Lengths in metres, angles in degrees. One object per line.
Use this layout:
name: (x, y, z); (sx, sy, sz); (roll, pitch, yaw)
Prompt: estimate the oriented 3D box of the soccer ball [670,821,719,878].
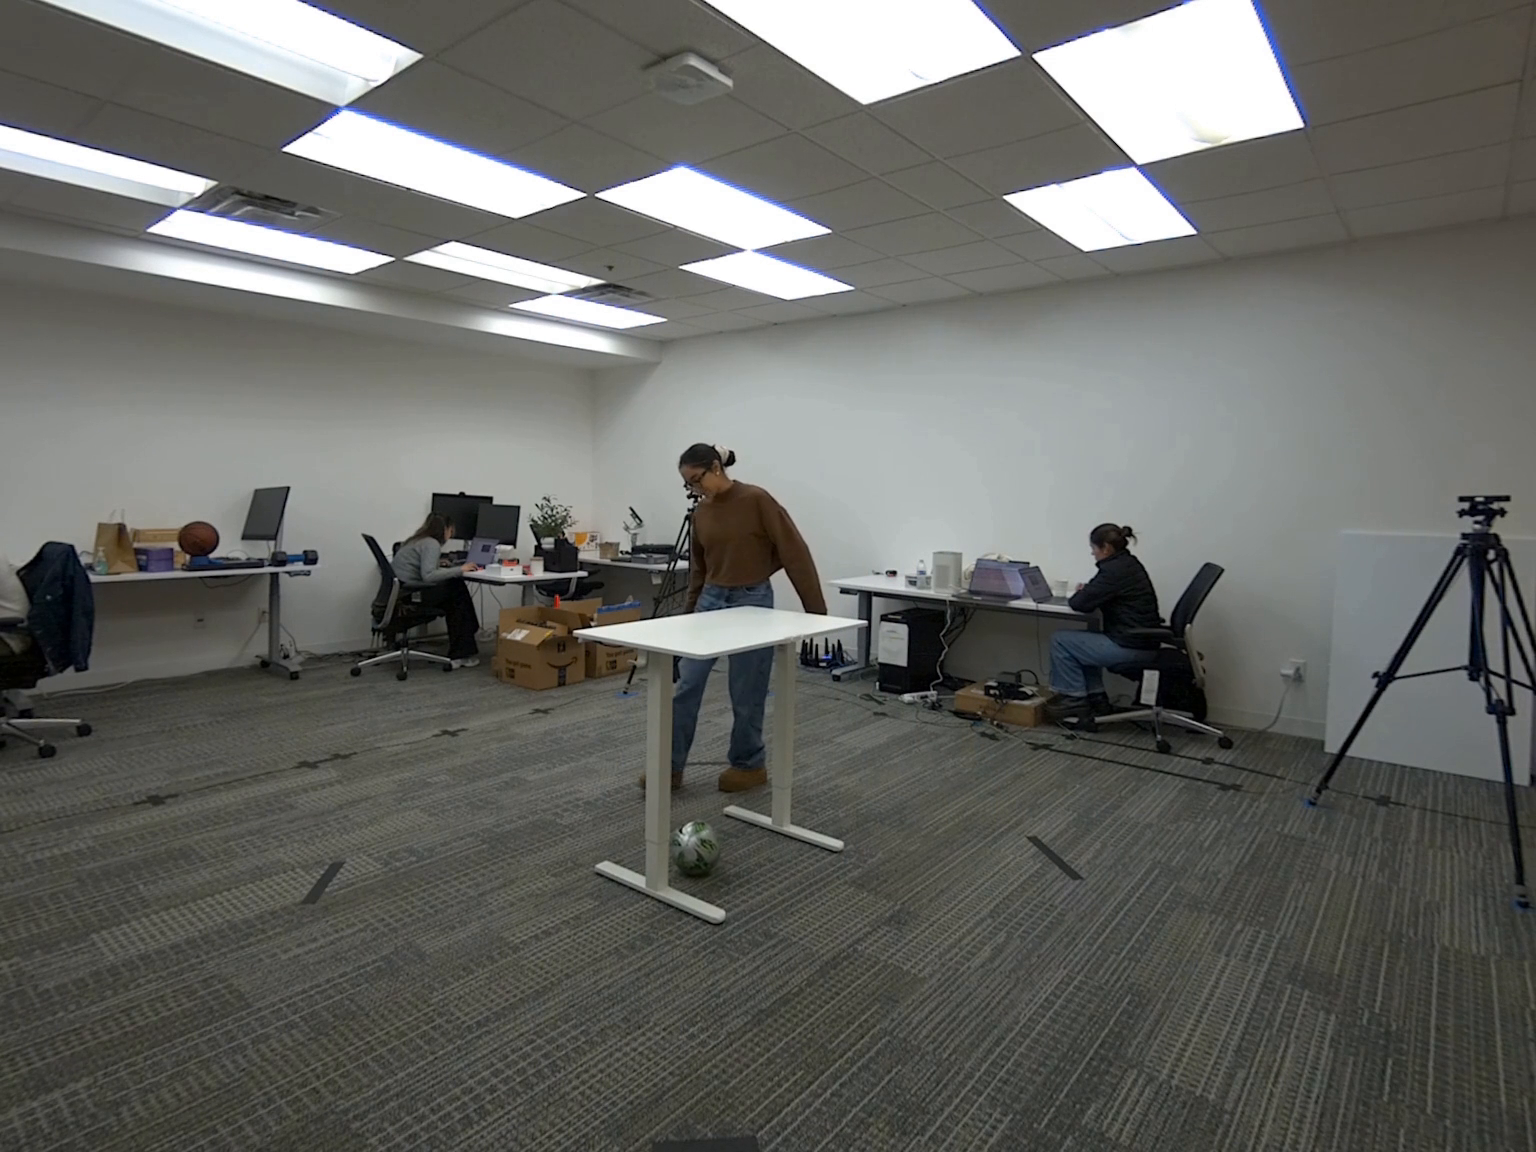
soccer ball: (-0.273, 0.979, 3.070); (0.187, 0.187, 0.188); (1, 4, -2)
